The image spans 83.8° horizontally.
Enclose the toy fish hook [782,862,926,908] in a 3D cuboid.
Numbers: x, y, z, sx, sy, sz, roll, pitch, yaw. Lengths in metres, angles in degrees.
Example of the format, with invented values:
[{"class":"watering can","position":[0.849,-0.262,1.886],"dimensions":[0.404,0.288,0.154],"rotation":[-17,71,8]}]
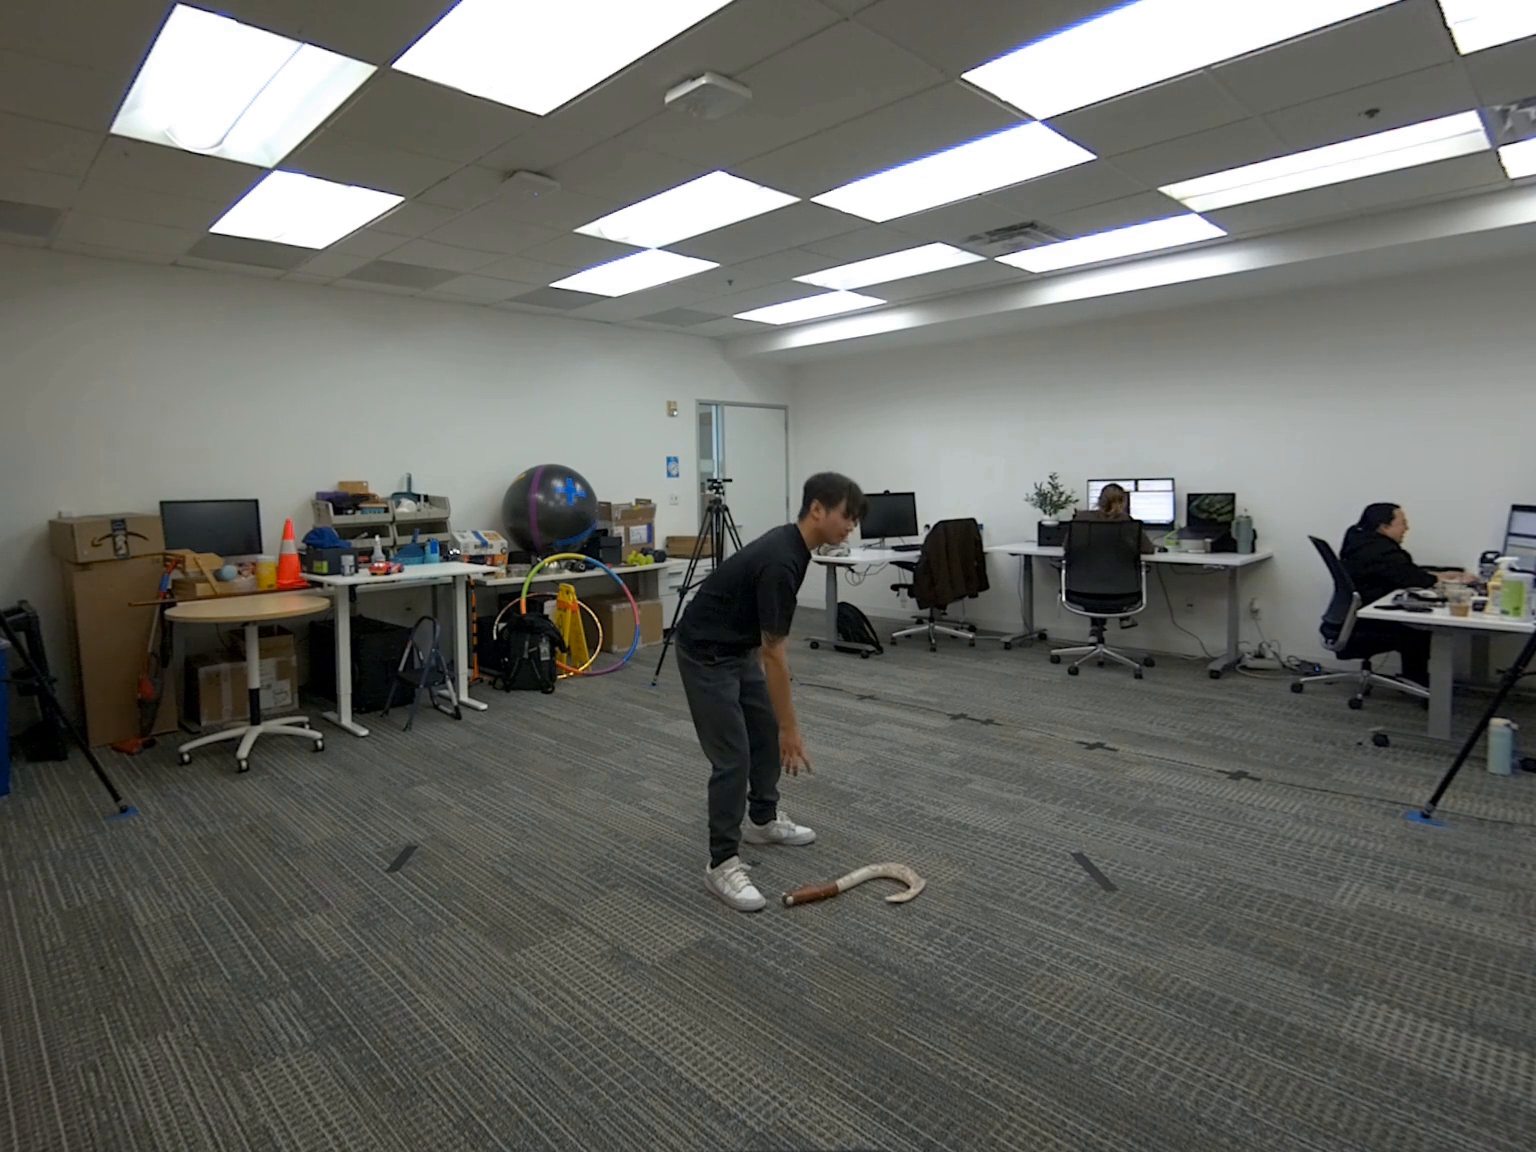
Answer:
[{"class":"toy fish hook","position":[0.295,1.045,2.844],"dimensions":[0.496,0.048,0.230],"rotation":[-5,6,-27]}]
